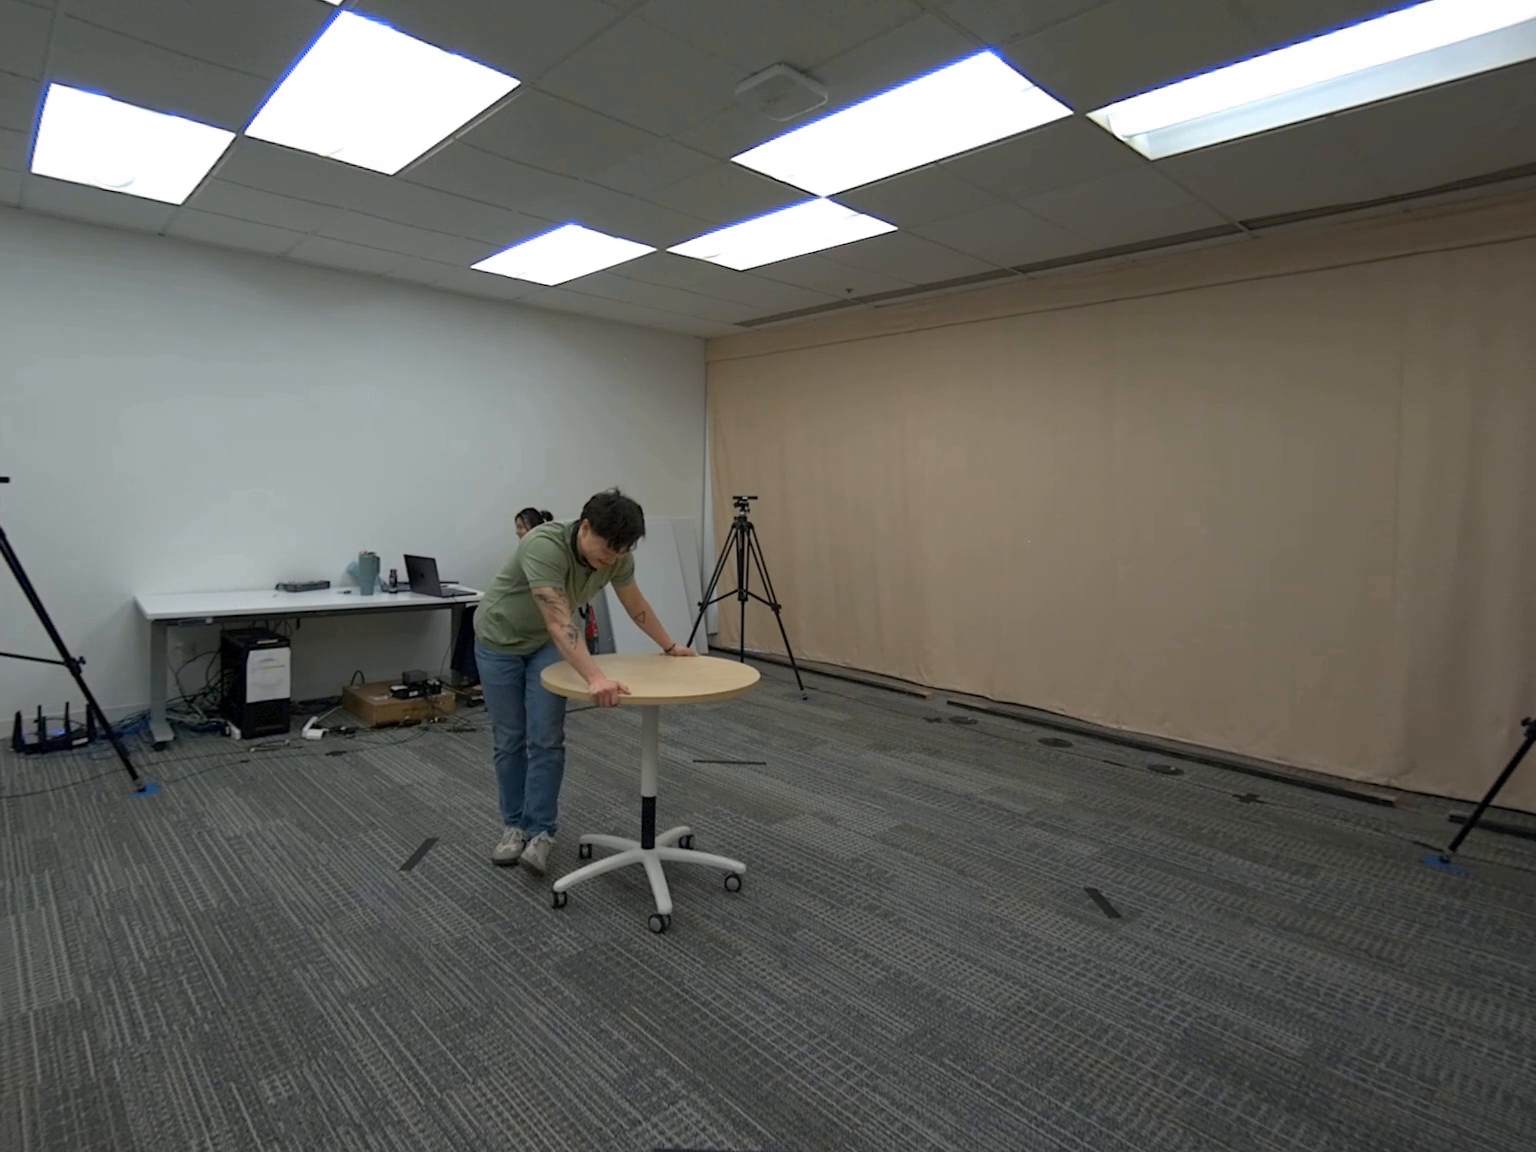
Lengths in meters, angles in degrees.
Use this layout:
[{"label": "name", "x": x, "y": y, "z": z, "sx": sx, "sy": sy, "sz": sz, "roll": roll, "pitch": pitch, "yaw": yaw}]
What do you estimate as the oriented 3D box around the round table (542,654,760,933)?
[{"label": "round table", "x": -0.426, "y": 0.726, "z": 2.978, "sx": 0.763, "sy": 0.792, "sz": 0.766, "roll": 1, "pitch": 4, "yaw": -1}]
